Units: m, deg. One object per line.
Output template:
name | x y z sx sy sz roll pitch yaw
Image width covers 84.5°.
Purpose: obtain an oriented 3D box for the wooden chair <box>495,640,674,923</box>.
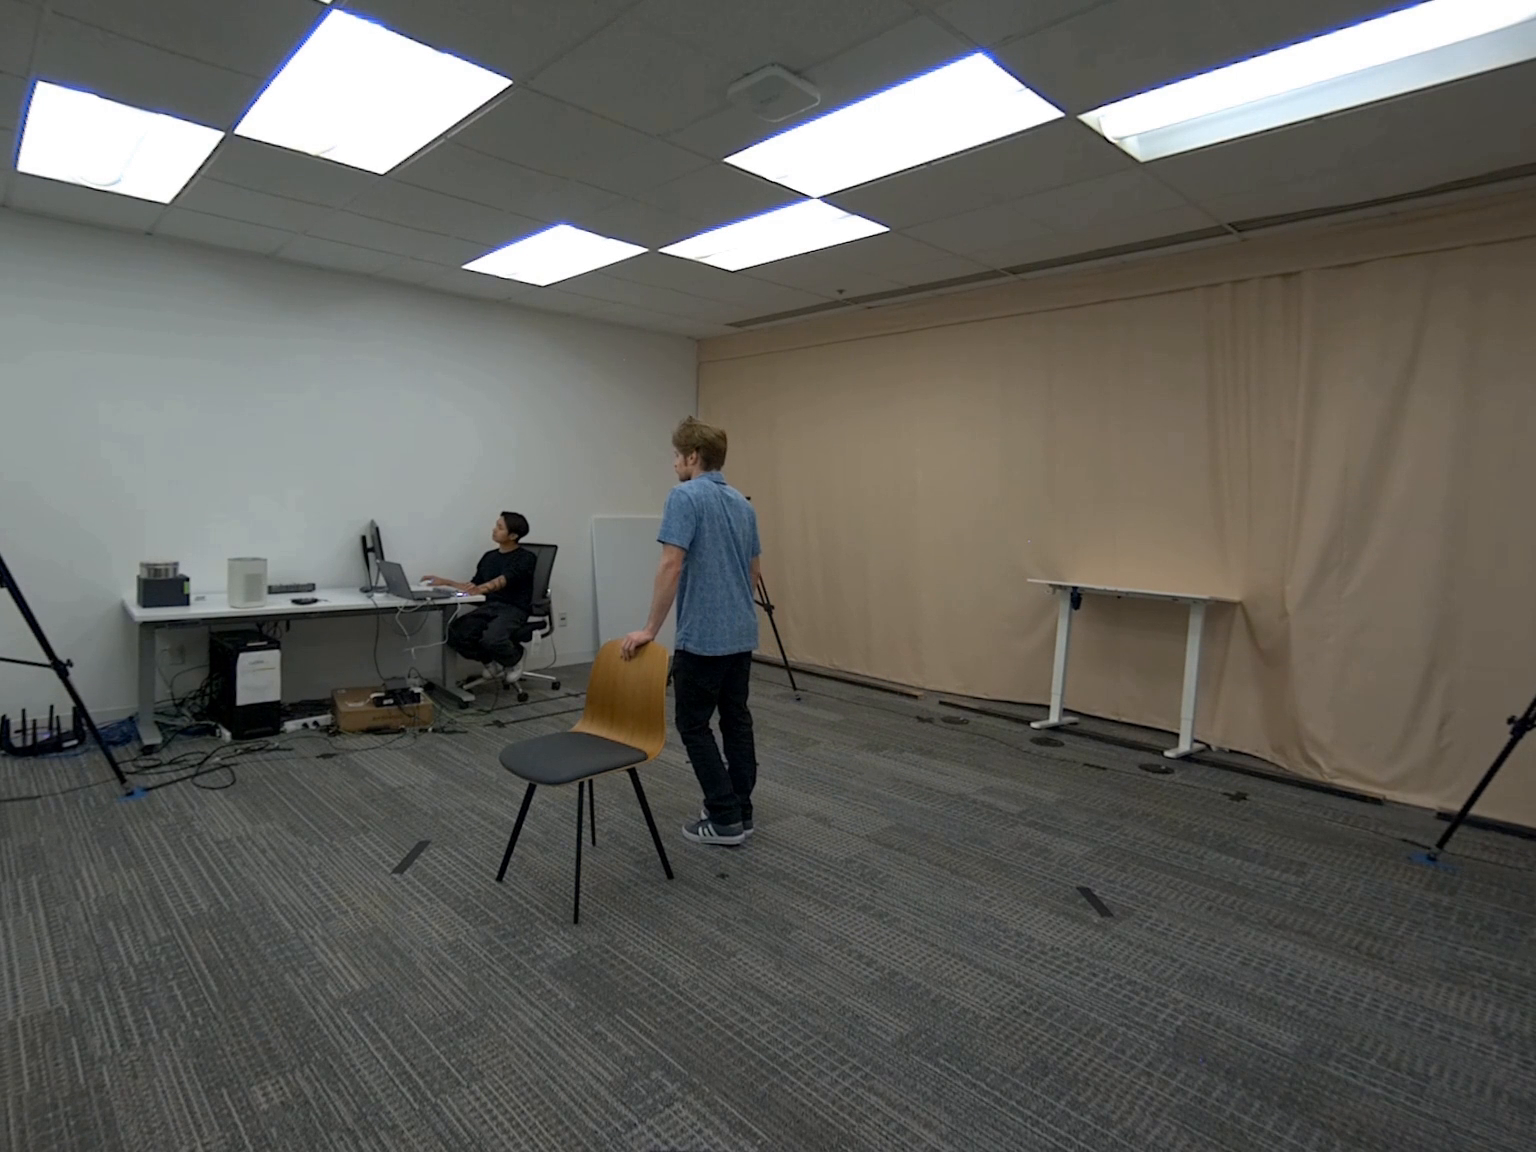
wooden chair | -0.654 0.675 3.003 0.490 0.877 0.510 4 0 40
